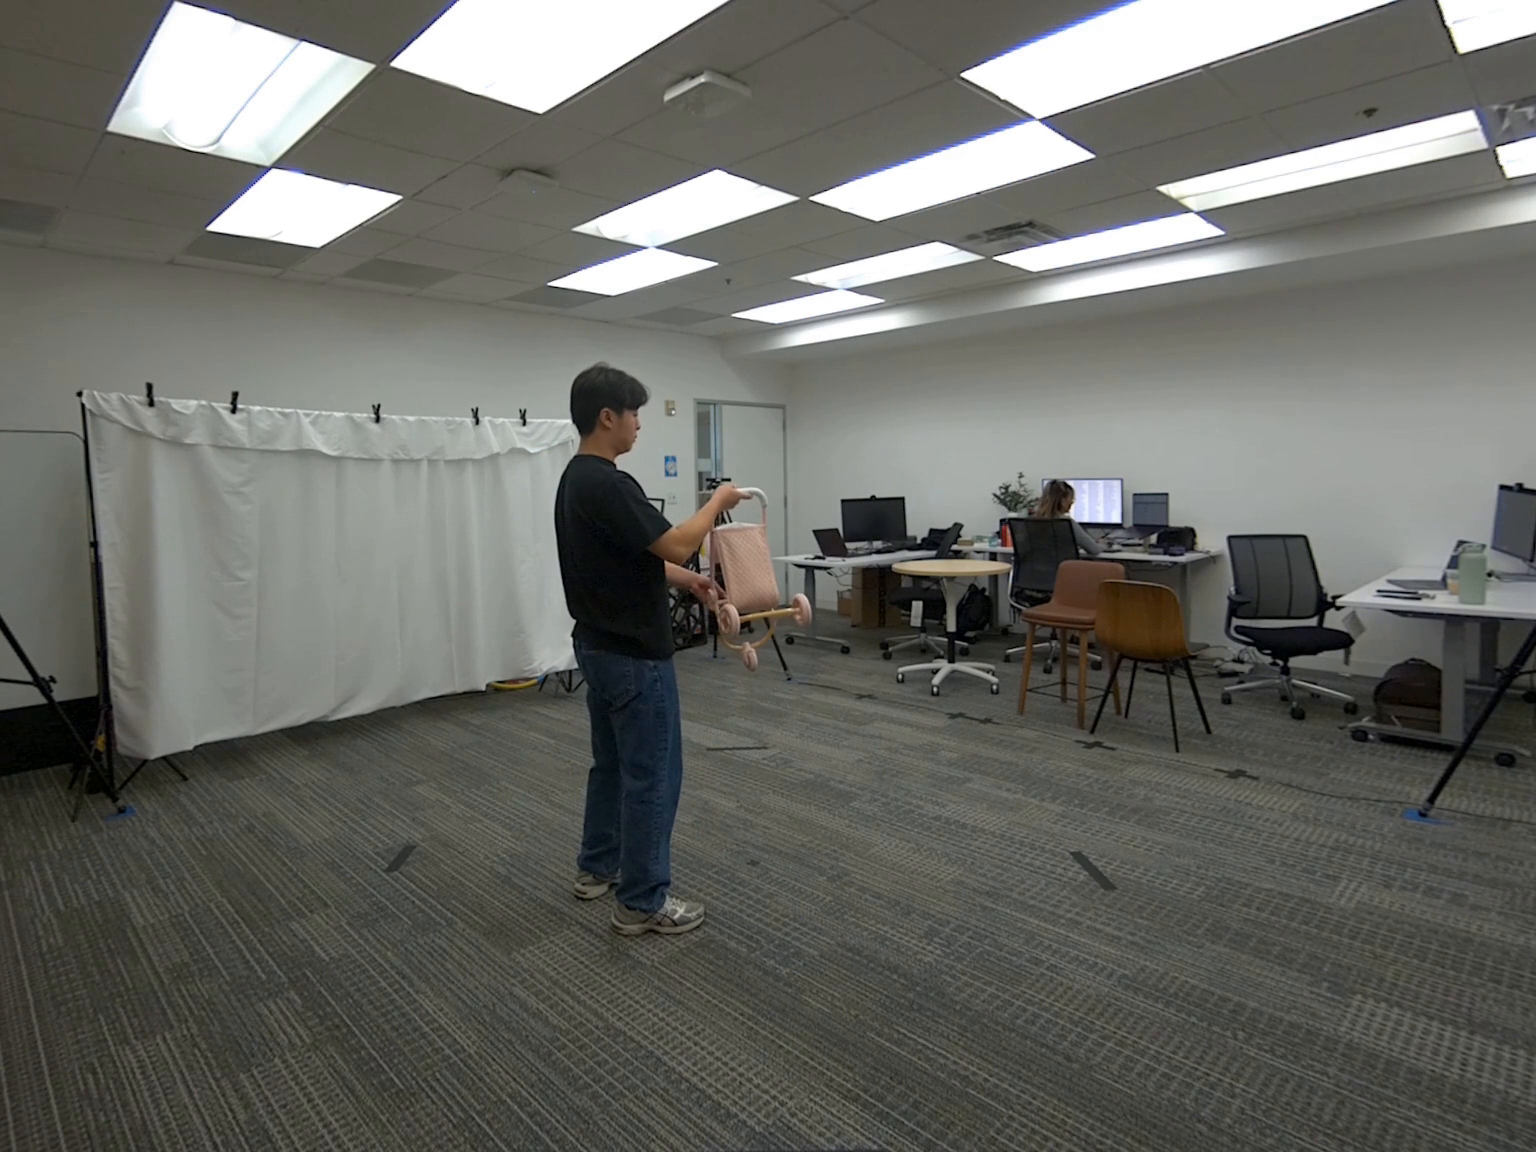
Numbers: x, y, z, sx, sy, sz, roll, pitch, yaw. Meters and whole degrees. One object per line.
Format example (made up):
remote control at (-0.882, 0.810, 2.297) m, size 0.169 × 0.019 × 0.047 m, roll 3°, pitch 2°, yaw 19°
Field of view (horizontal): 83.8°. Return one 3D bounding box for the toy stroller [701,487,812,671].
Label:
toy stroller at (-0.078, 0.021, 2.862) m, size 0.278 × 0.547 × 0.338 m, roll -10°, pitch -20°, yaw -17°
